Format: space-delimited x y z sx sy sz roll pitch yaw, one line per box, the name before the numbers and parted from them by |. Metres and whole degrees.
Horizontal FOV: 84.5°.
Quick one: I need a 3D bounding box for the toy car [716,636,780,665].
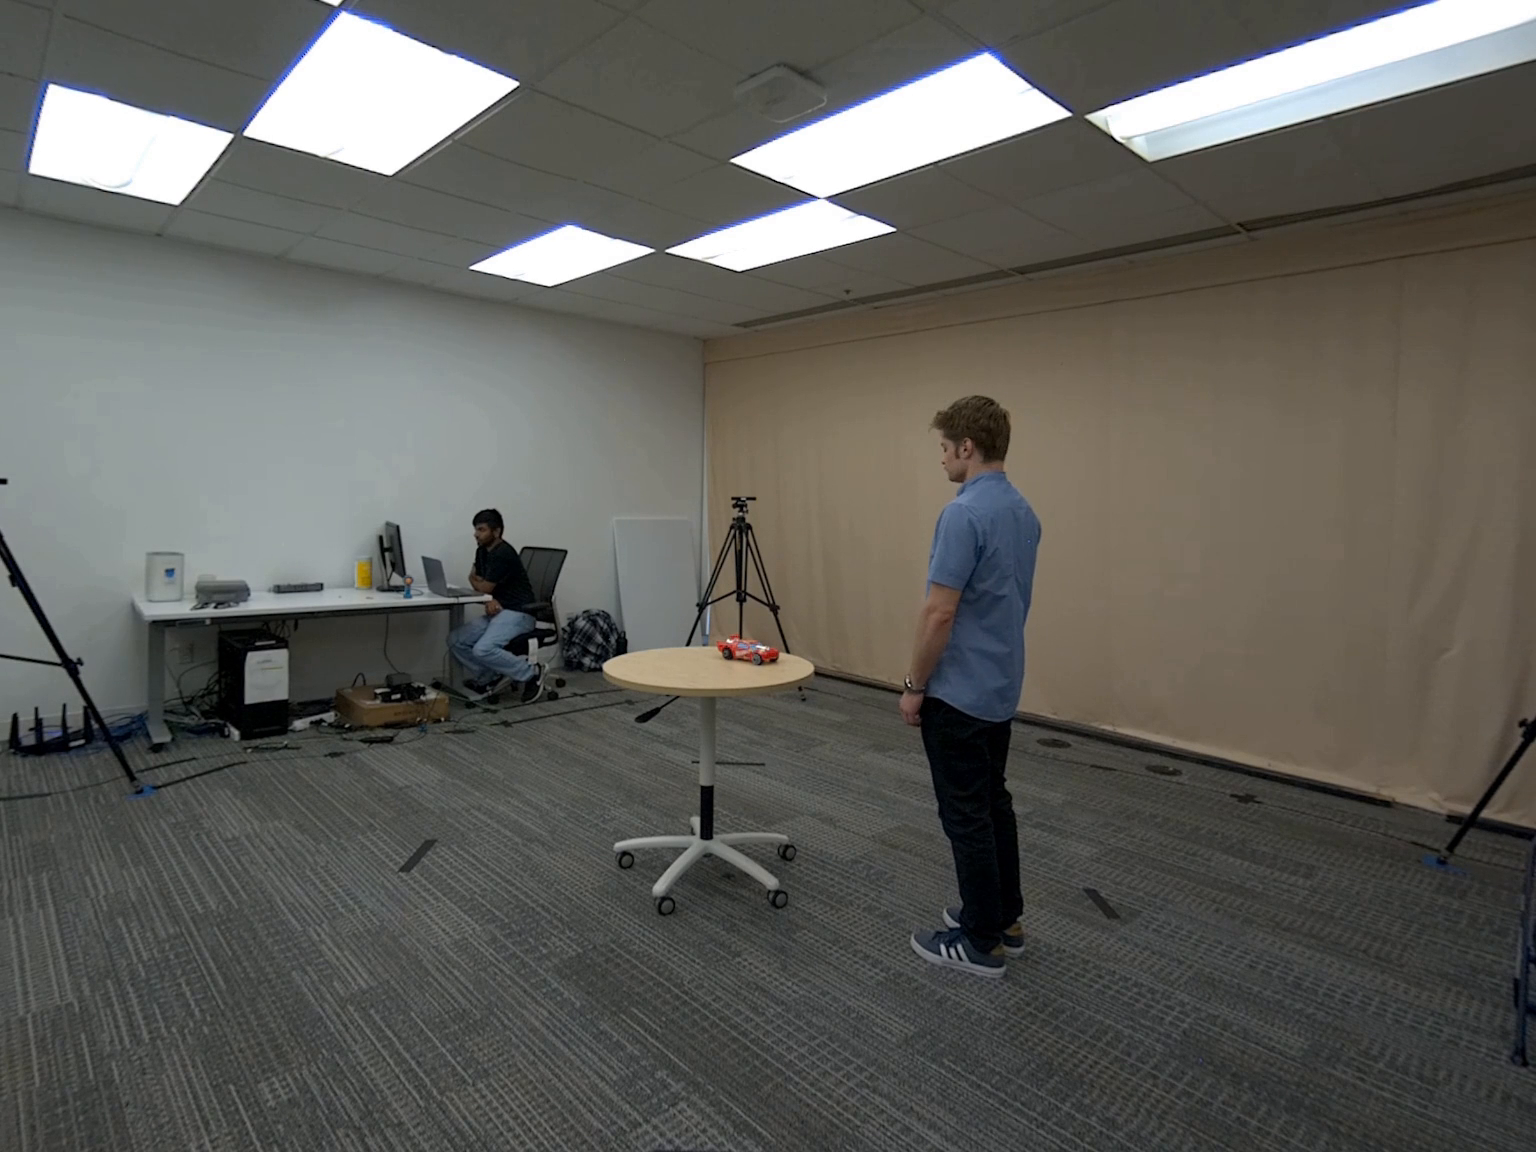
toy car | -0.087 0.284 3.173 0.262 0.082 0.127 19 15 39
